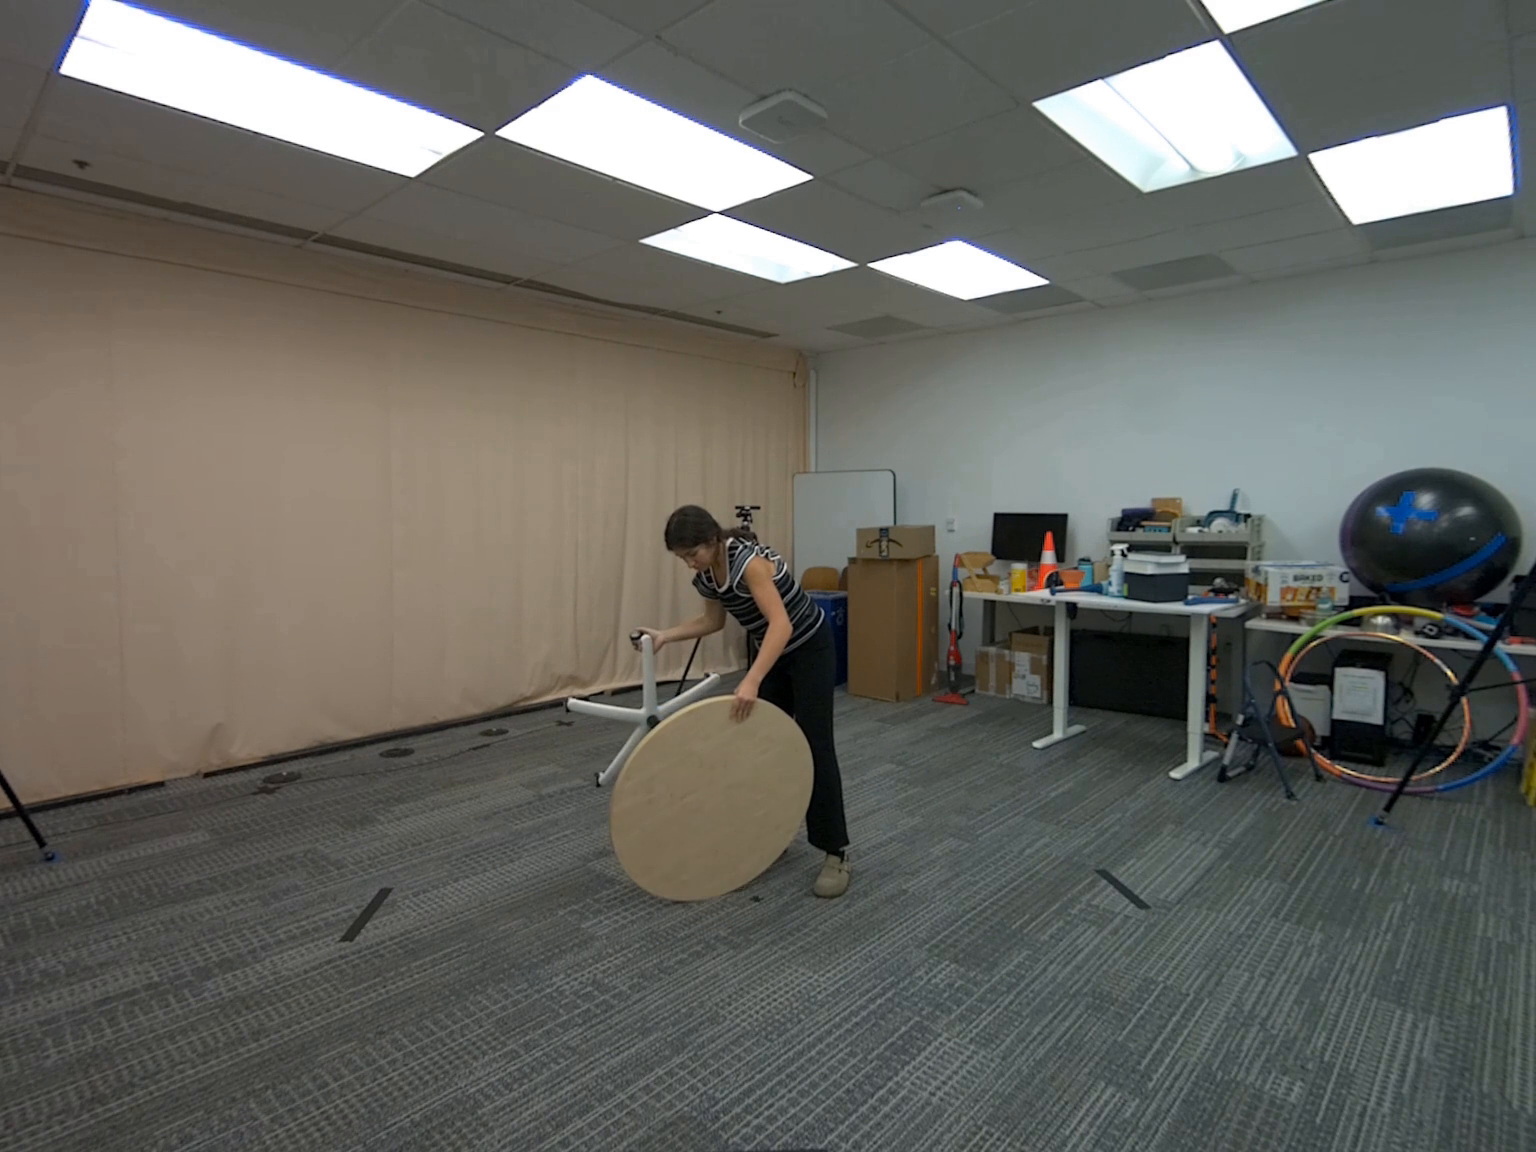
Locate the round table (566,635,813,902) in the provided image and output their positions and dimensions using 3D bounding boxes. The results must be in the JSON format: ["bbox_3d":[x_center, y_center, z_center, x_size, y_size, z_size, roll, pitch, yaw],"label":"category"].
[{"bbox_3d":[-0.365,0.672,3.241,0.745,0.758,0.820,-2,16,-26],"label":"round table"}]
